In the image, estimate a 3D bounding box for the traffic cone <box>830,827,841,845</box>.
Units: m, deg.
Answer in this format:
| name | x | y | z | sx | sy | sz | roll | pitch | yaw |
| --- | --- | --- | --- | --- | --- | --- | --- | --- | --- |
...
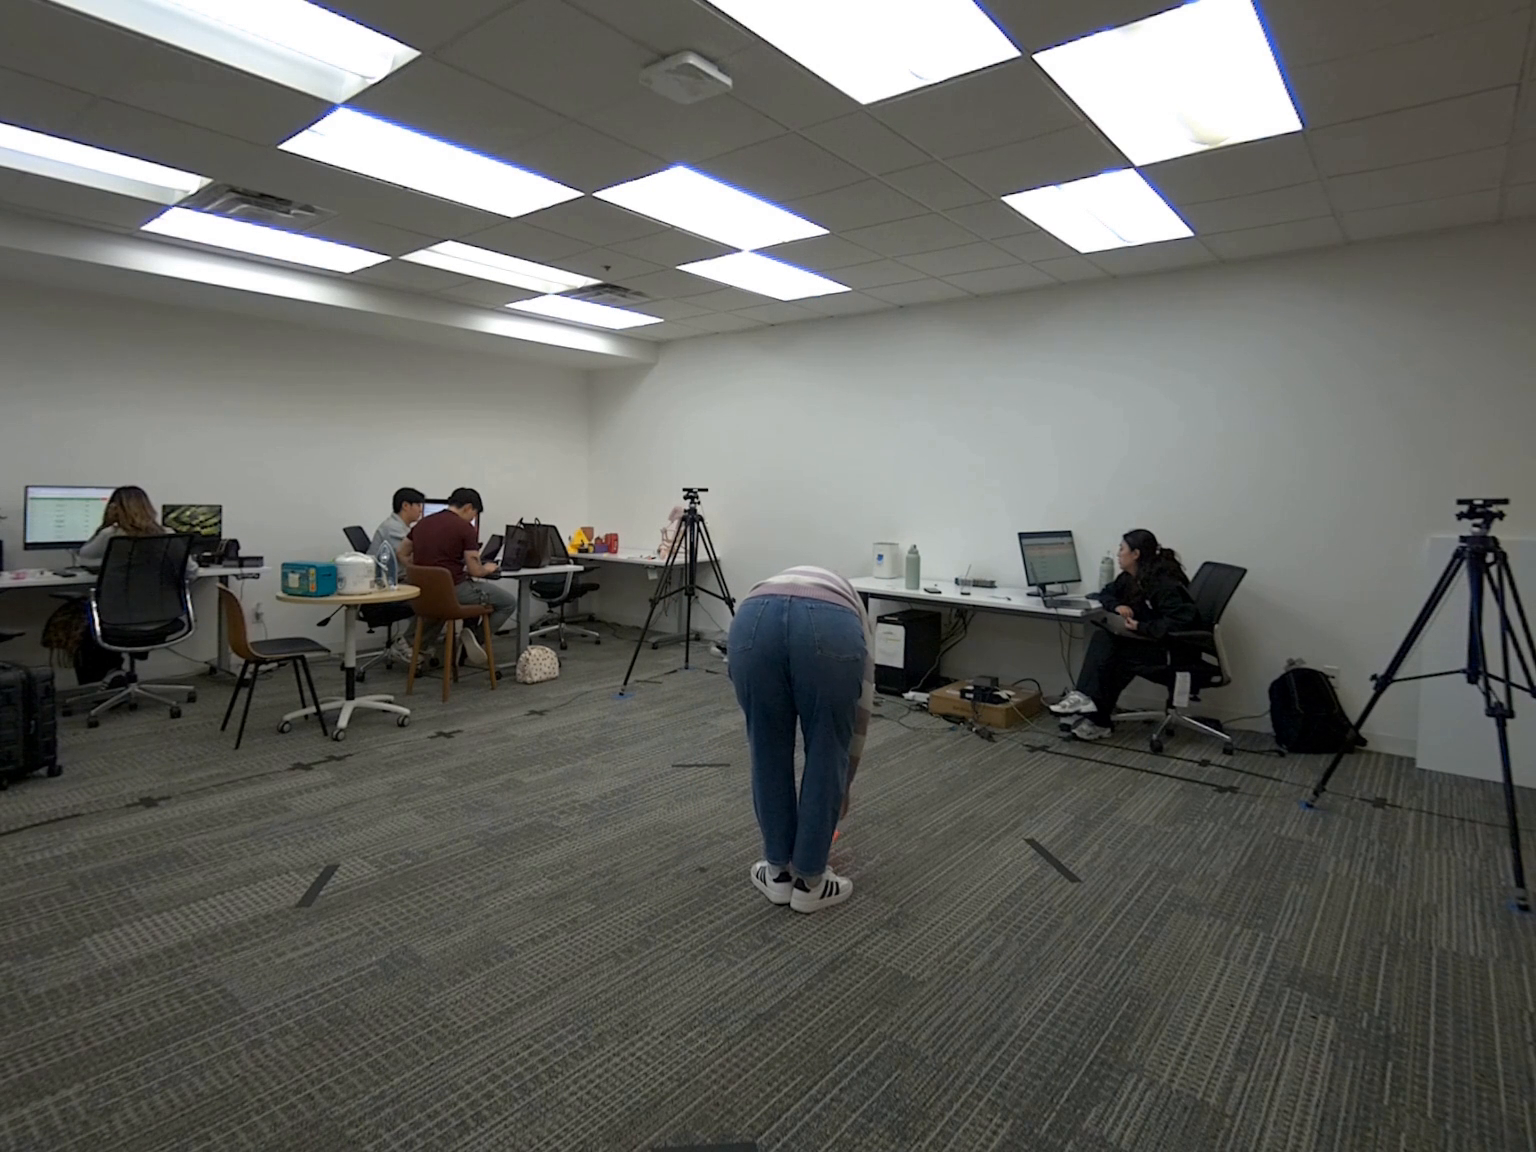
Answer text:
| name | x | y | z | sx | sy | sz | roll | pitch | yaw |
| --- | --- | --- | --- | --- | --- | --- | --- | --- | --- |
| traffic cone | 0.065 | 0.854 | 3.163 | 0.209 | 0.375 | 0.203 | -4 | 25 | 42 |
